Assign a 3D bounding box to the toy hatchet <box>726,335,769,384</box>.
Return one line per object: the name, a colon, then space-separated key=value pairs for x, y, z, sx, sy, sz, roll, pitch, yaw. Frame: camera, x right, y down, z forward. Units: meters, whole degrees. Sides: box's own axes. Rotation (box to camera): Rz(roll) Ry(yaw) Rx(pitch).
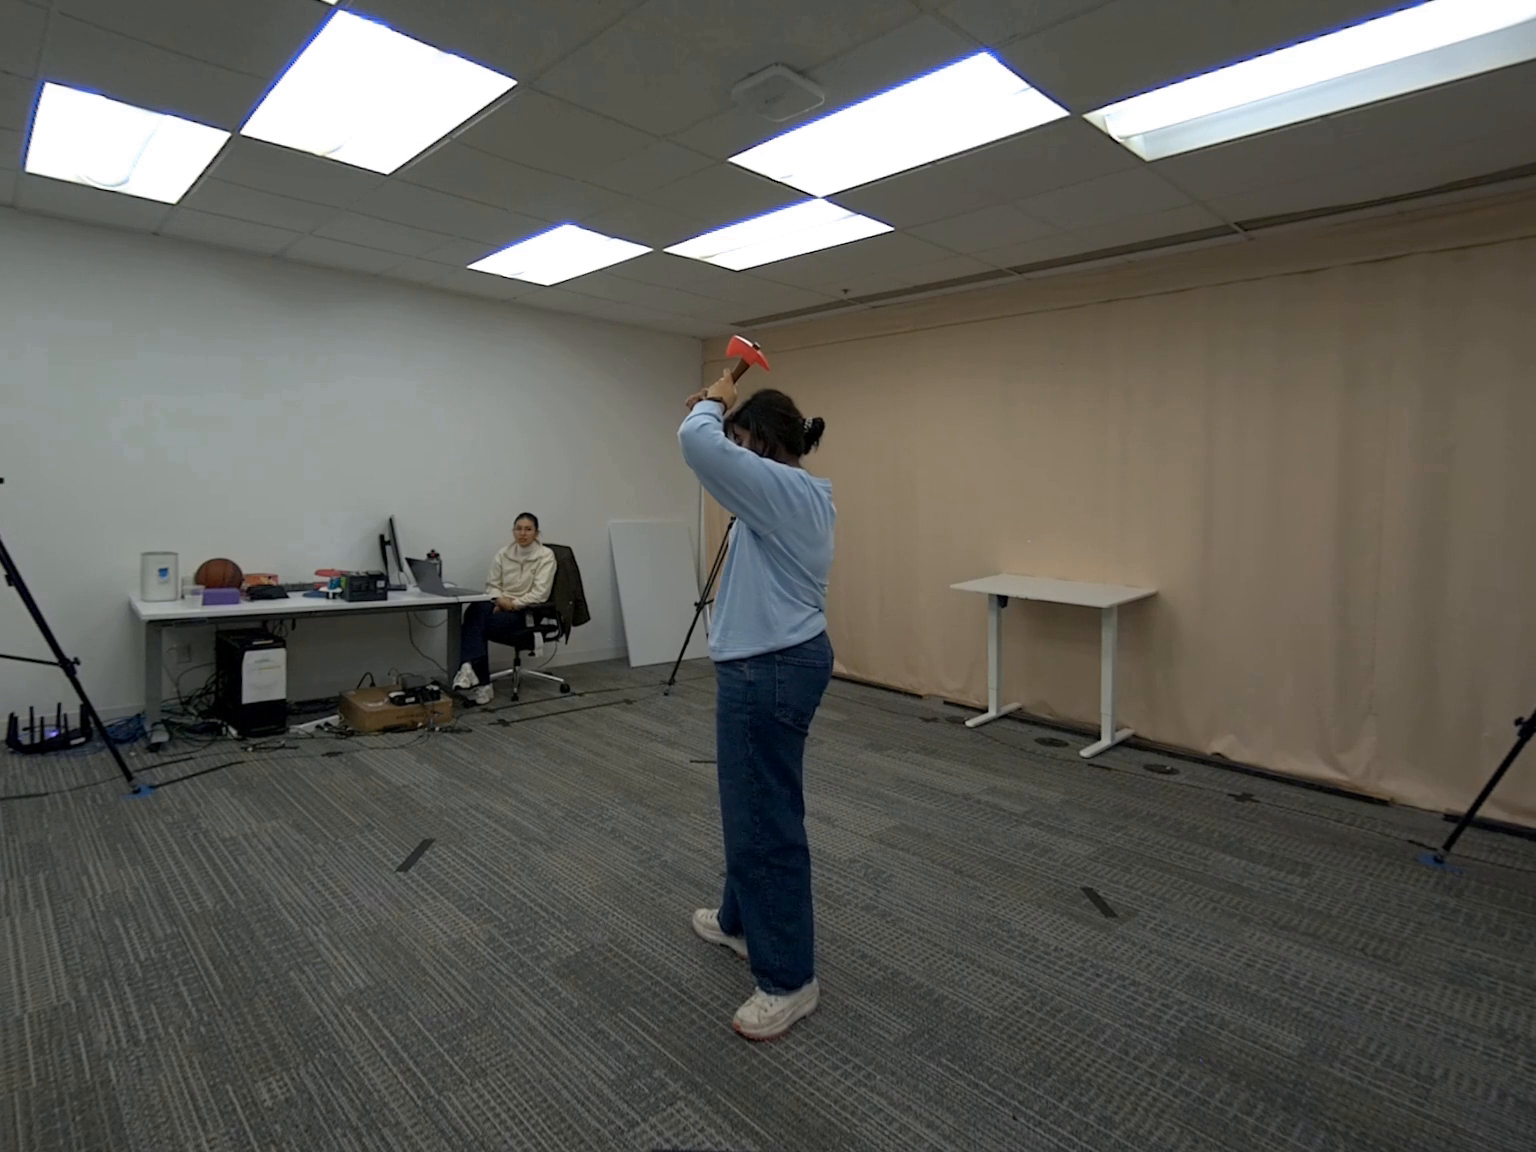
toy hatchet: x=-0.137 y=-0.564 z=2.320 sx=0.272 sy=0.130 sz=0.030 roll=-25 pitch=11 yaw=21
